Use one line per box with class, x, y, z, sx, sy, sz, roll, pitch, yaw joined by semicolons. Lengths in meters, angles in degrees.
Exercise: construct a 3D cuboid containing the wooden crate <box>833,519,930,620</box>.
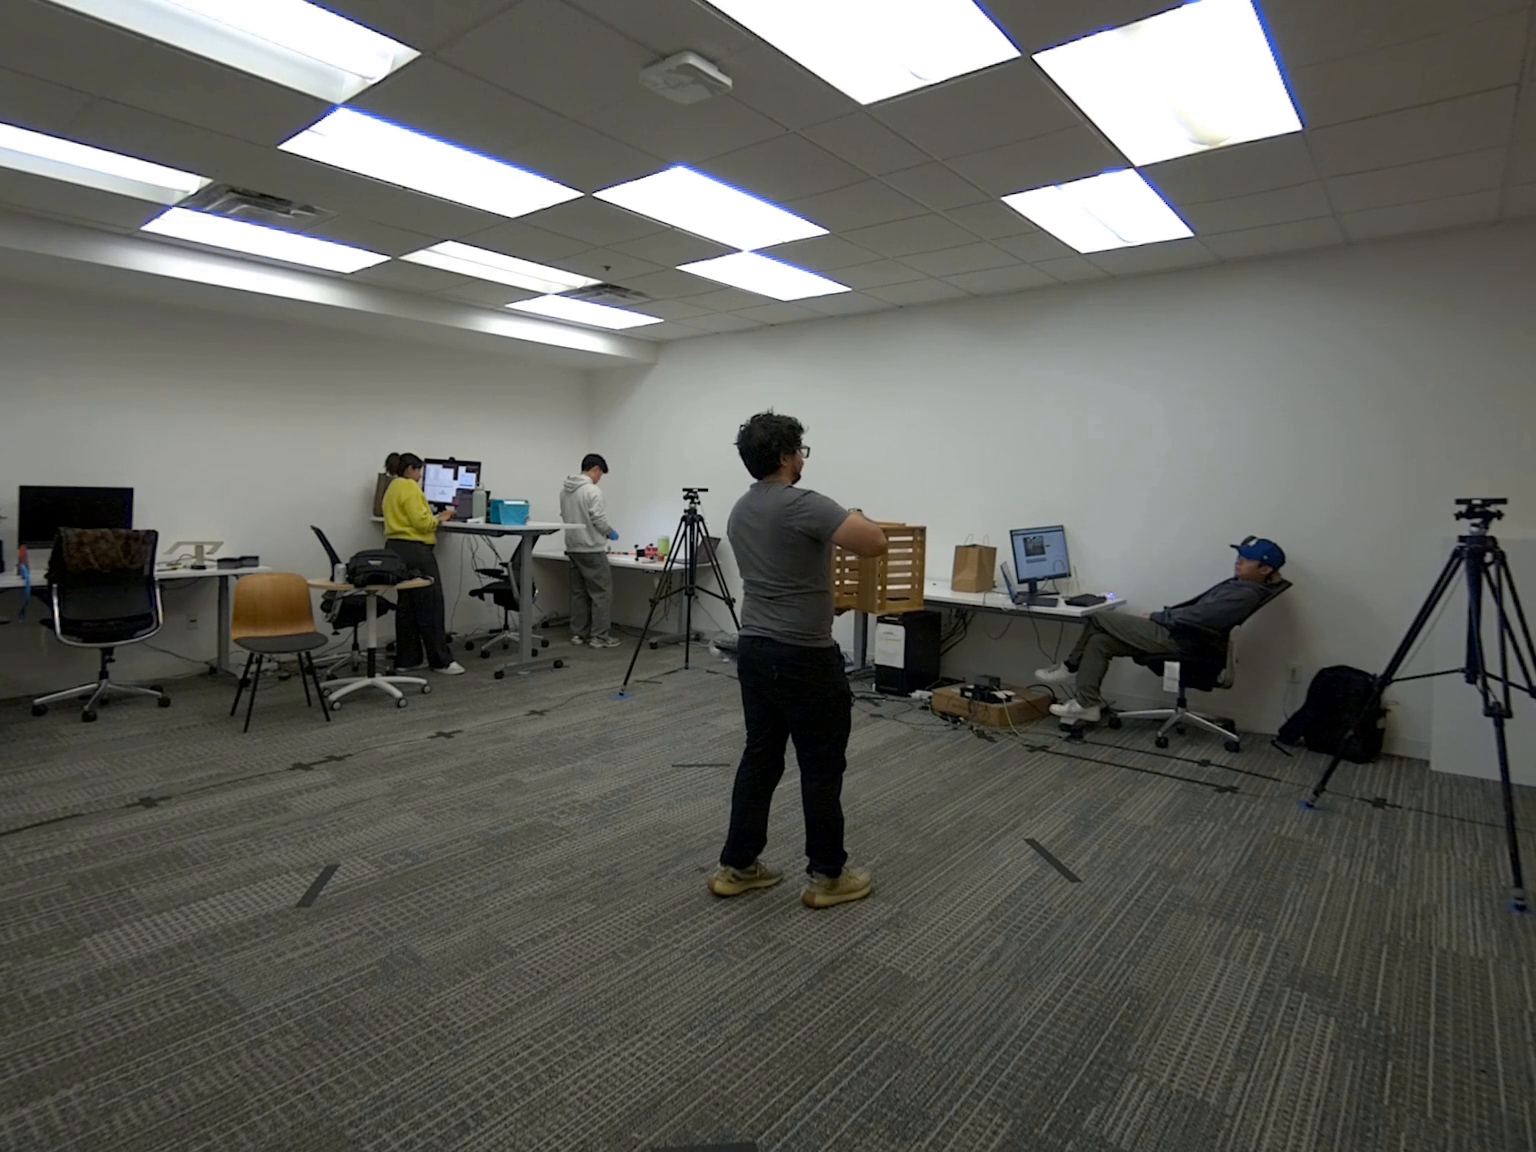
wooden crate;0.373;-0.037;3.074;0.293;0.323;0.282;-3;7;-35
